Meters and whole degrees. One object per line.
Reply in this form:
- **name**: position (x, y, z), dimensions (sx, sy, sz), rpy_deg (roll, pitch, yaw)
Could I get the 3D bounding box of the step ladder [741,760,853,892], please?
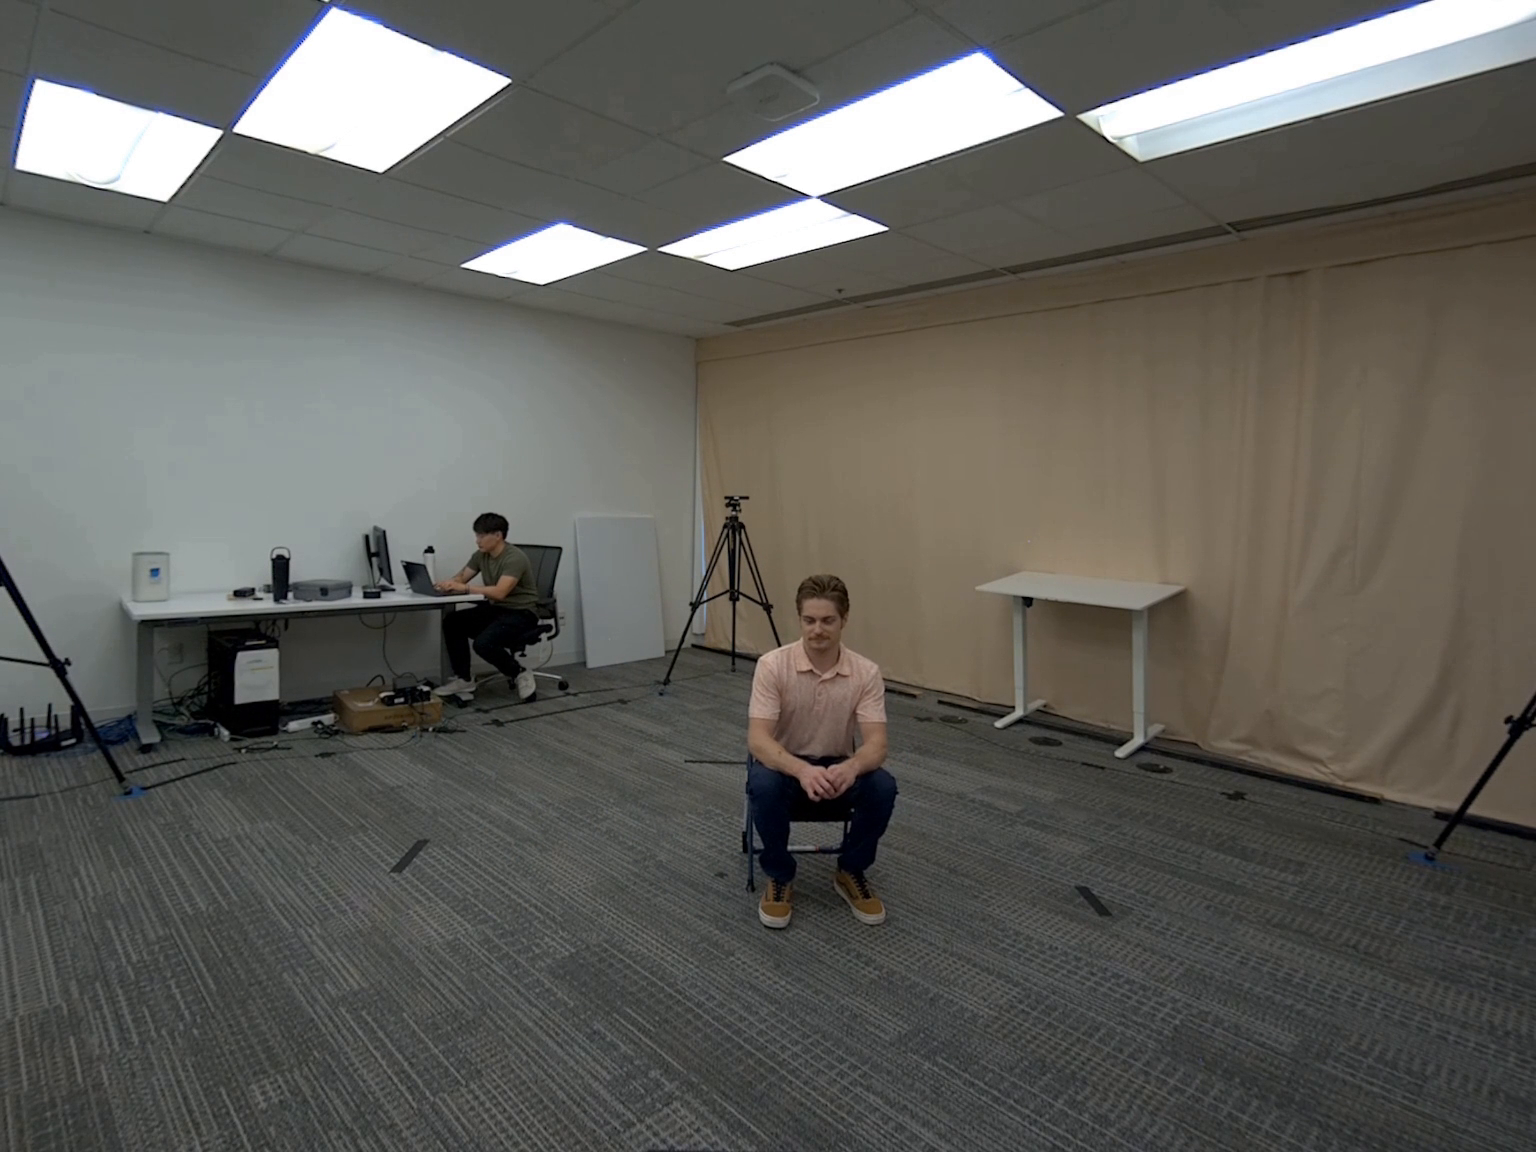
- **step ladder**: position (0.123, 0.814, 3.148), dimensions (0.429, 0.604, 0.352), rpy_deg (1, 4, -5)
